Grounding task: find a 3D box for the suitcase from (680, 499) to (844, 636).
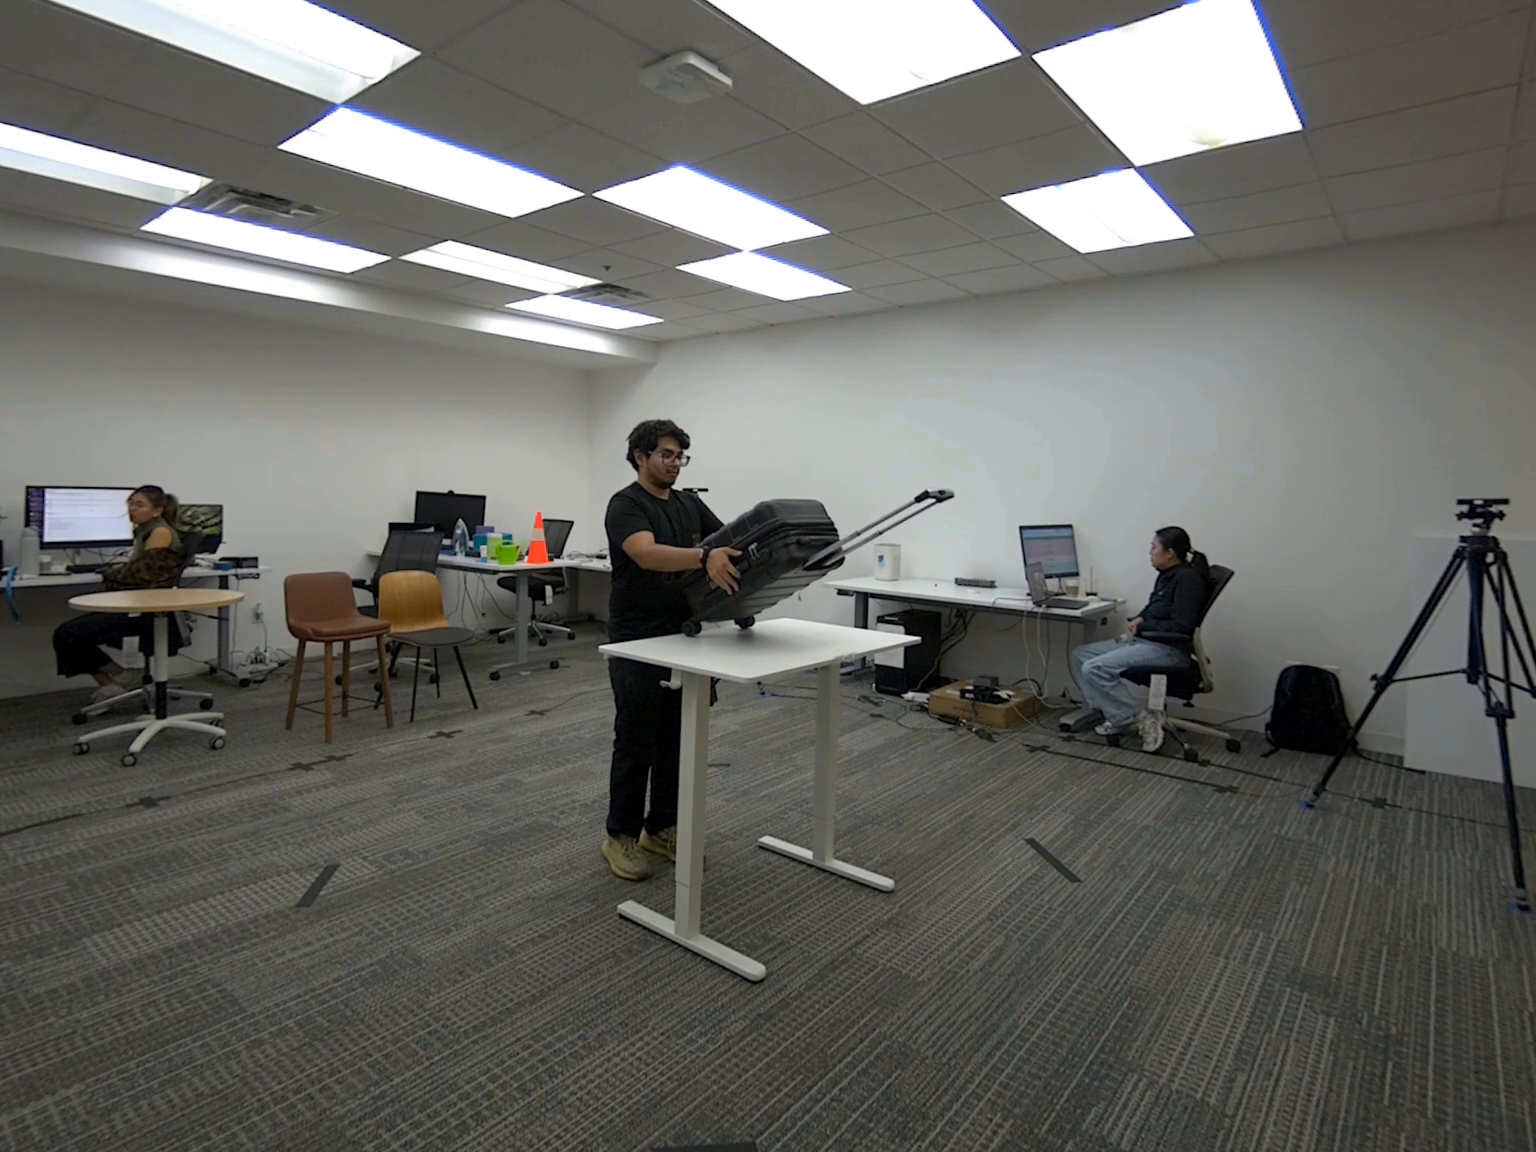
[{"bbox_3d":[0.098,-0.134,2.756,0.987,0.263,0.372,-34,-19,36],"label":"suitcase"}]
